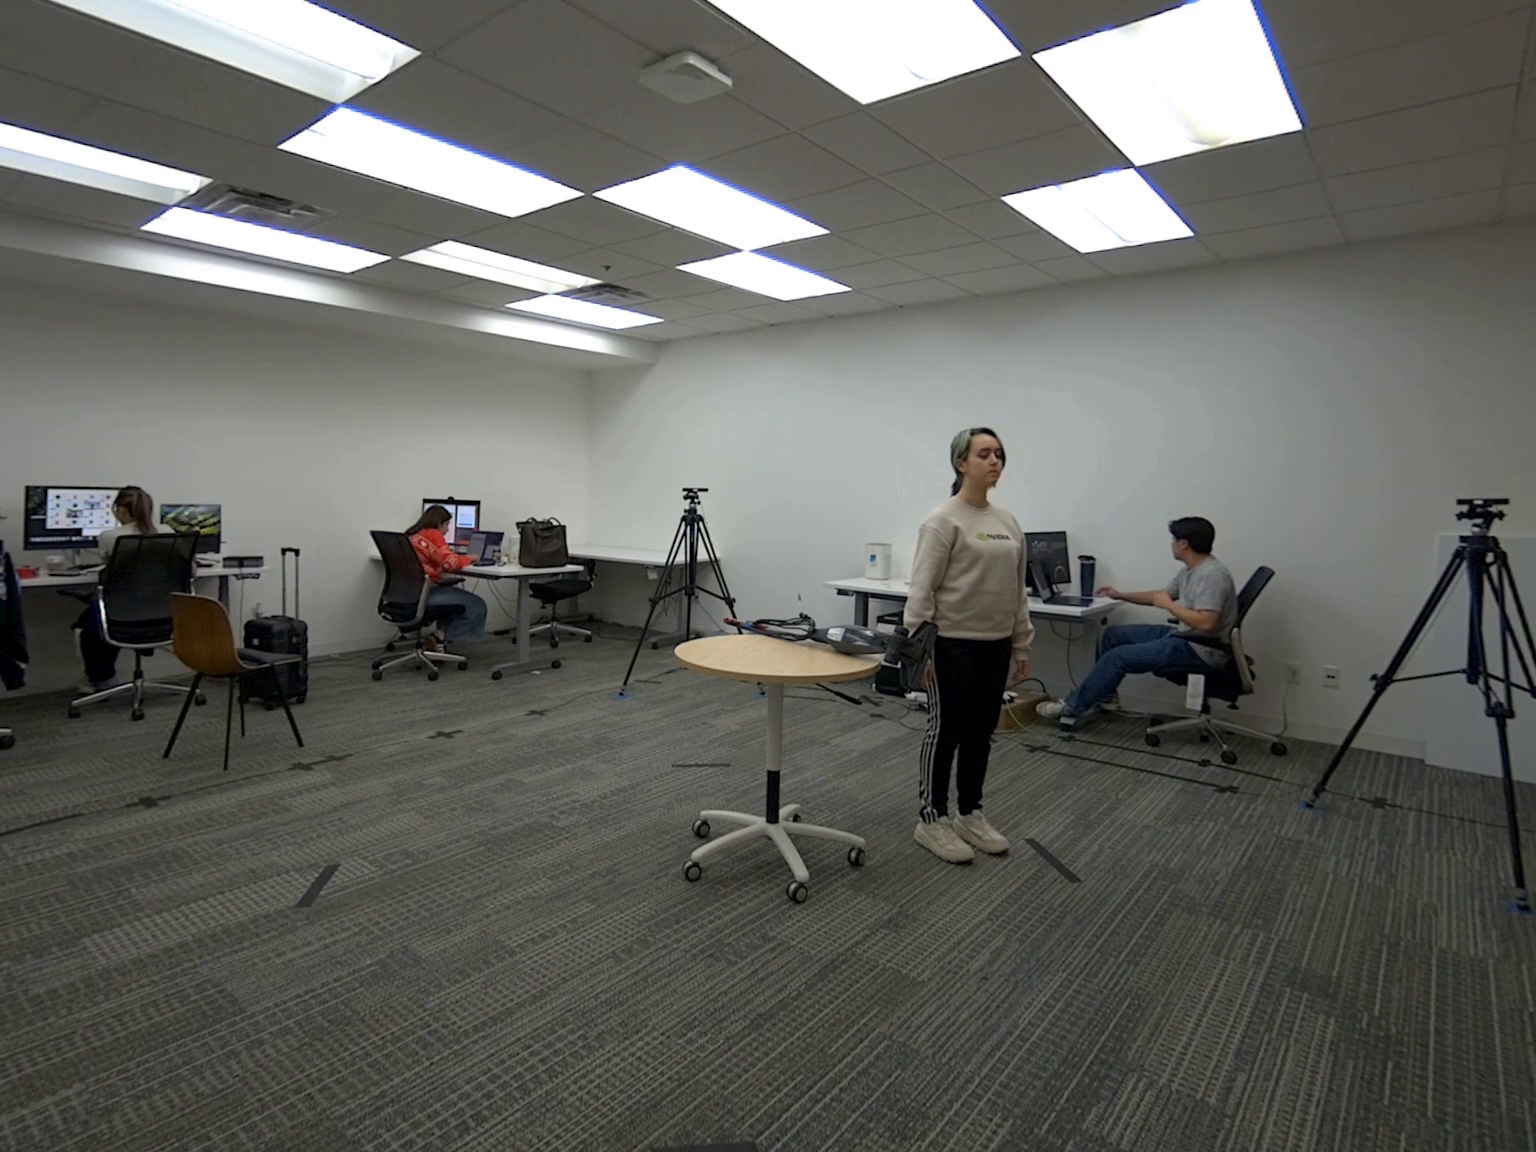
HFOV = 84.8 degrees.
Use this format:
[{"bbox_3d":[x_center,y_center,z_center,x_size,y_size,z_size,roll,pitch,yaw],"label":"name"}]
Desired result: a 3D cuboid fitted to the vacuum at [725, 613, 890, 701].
[{"bbox_3d":[0.150,0.228,3.385,0.138,0.254,1.084,36,-18,-35],"label":"vacuum"}]
